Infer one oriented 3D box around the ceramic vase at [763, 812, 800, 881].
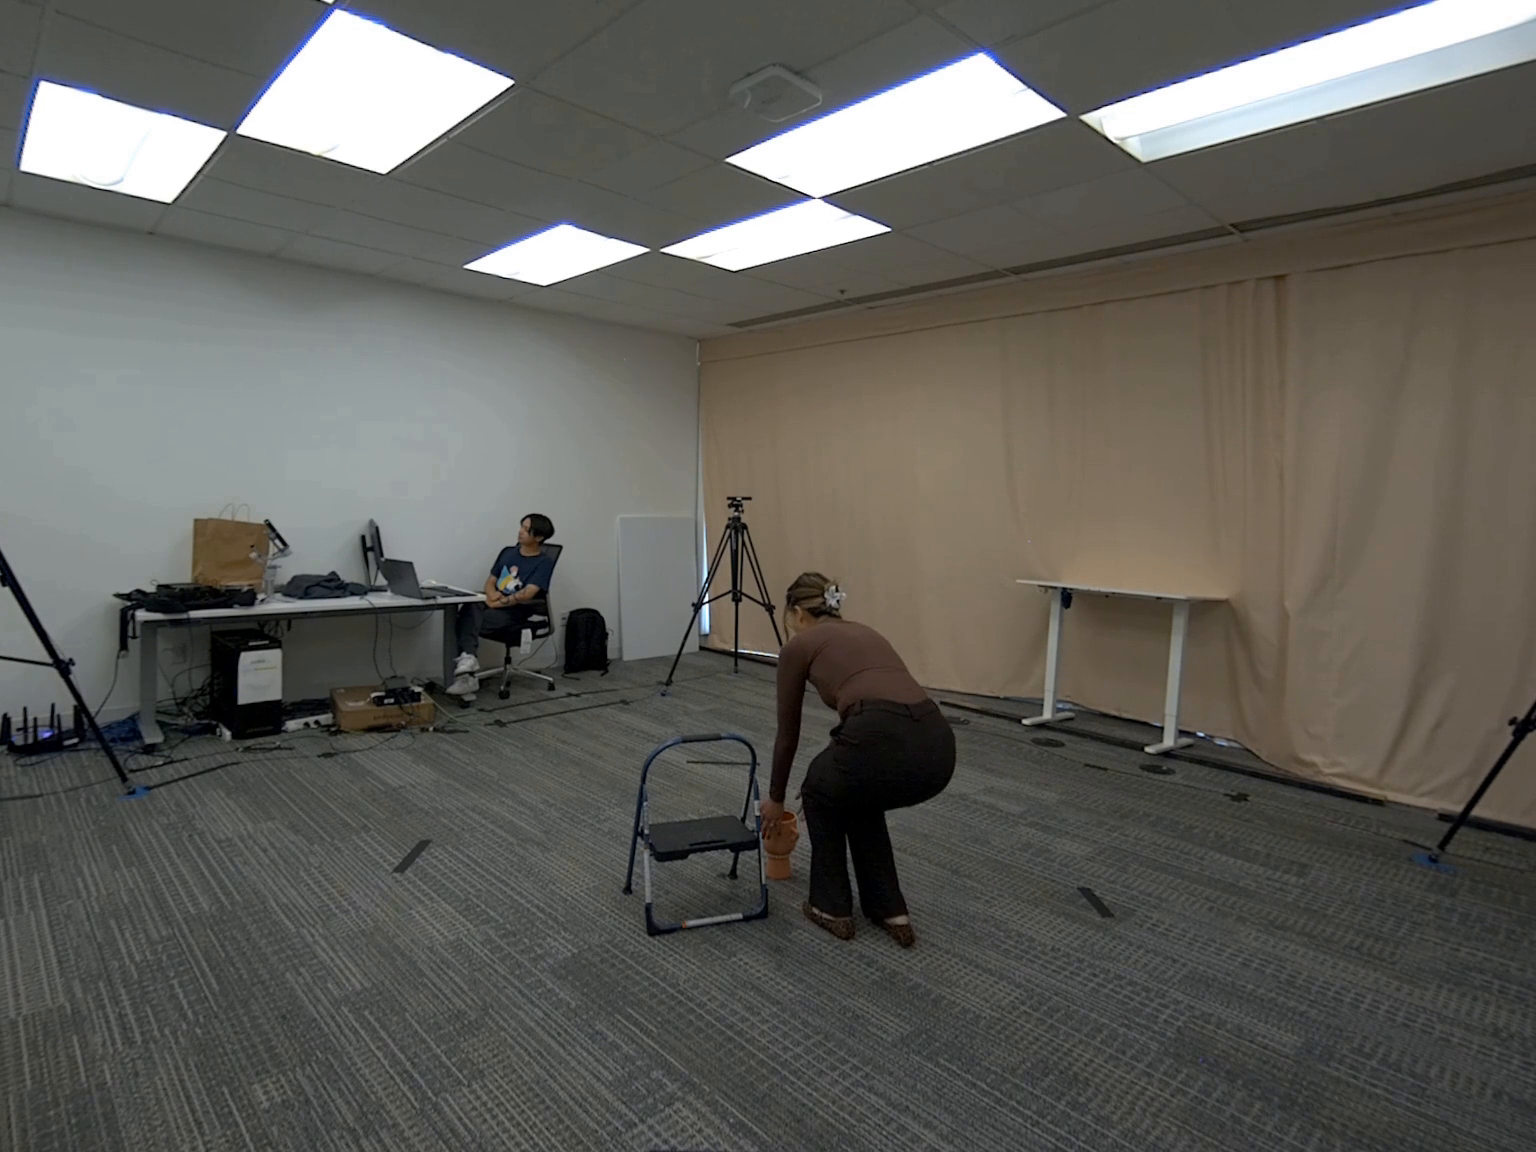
[{"bbox_3d":[0.033,0.994,3.122,0.133,0.219,0.160,1,4,-10],"label":"ceramic vase"}]
